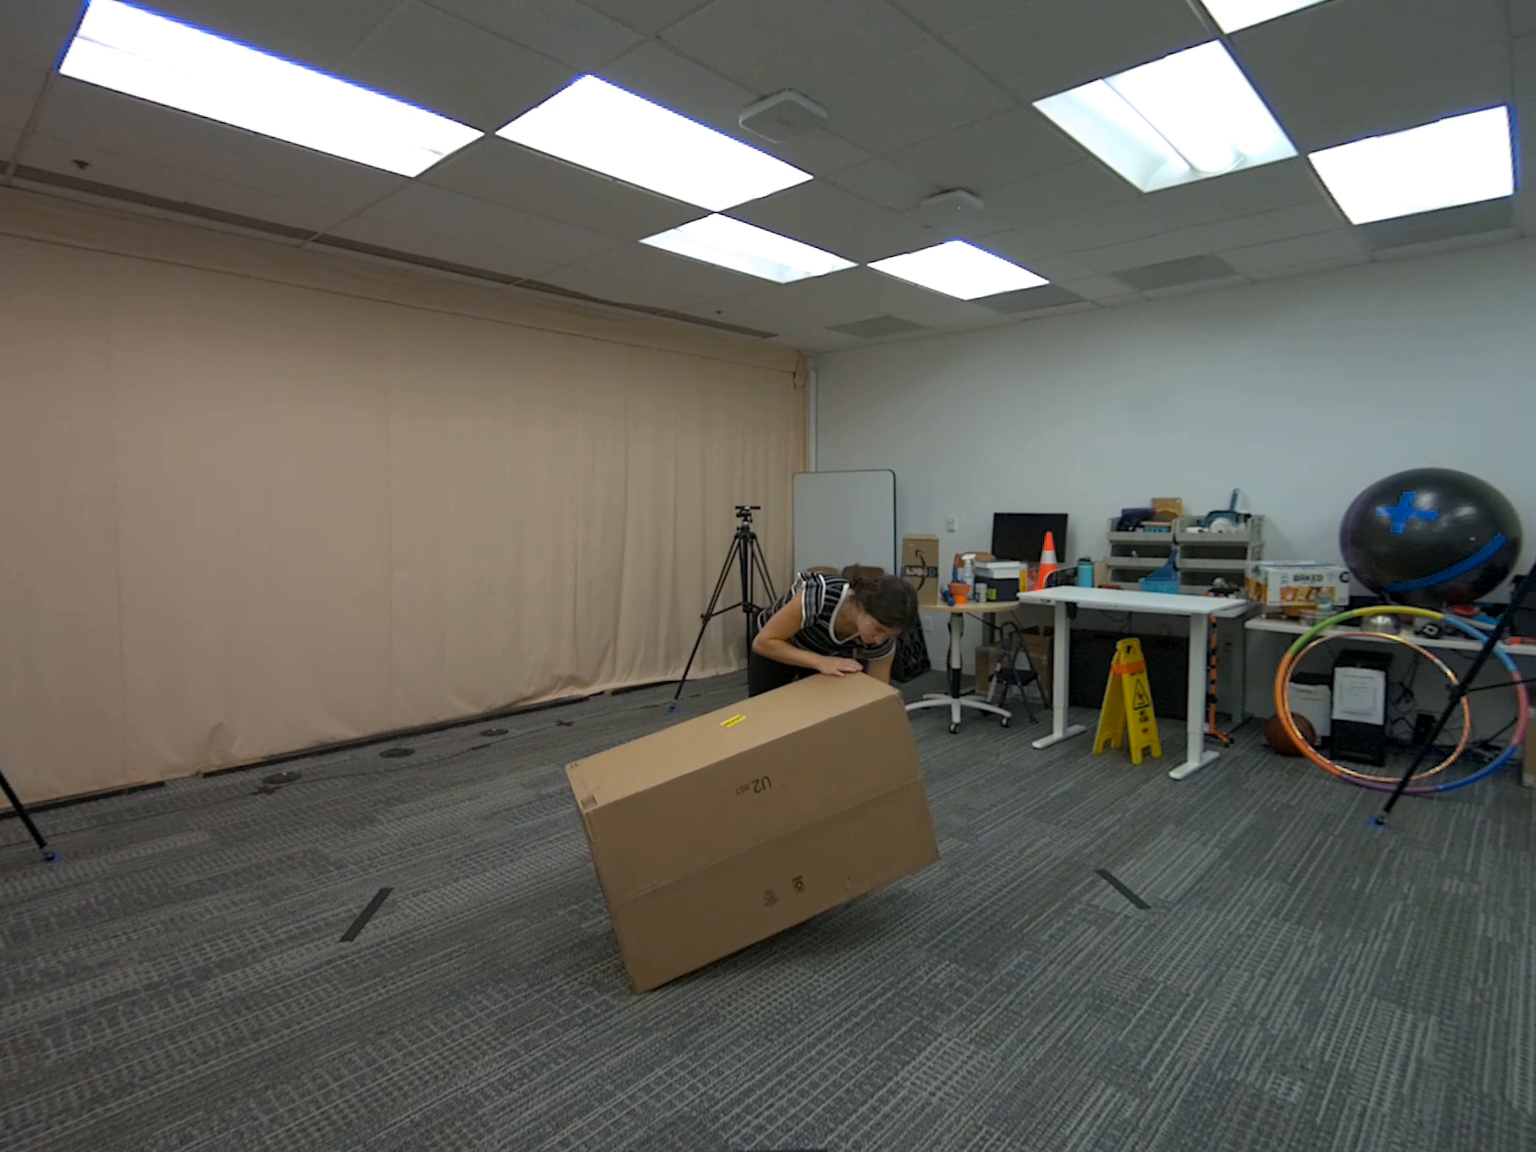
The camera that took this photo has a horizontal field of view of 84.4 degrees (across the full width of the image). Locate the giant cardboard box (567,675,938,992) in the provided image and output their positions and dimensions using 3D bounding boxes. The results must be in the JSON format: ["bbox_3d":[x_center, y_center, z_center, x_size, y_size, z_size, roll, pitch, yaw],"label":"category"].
[{"bbox_3d":[-0.057,0.752,2.694,1.012,0.573,0.435,-18,10,-16],"label":"giant cardboard box"}]
